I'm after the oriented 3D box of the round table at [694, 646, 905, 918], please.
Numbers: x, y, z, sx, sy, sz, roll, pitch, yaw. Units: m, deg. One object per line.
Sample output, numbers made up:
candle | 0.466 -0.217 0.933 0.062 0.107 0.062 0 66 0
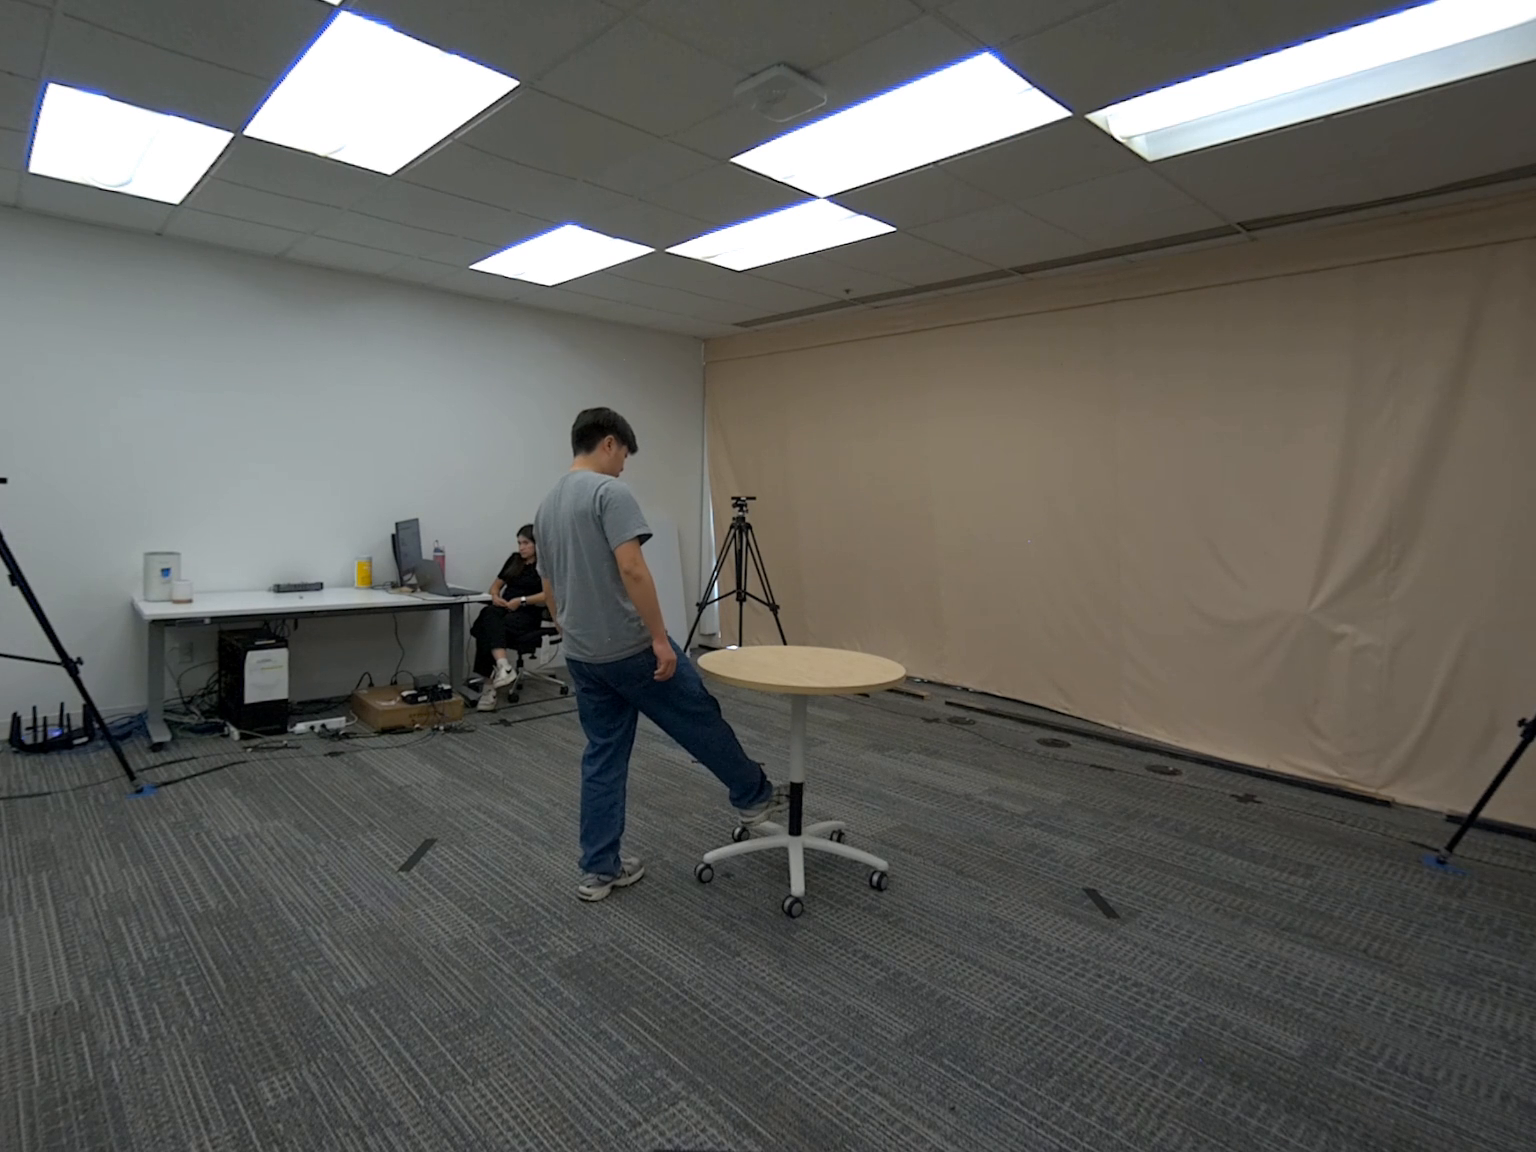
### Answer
round table | 0.104 0.721 3.128 0.763 0.792 0.766 2 4 -1
